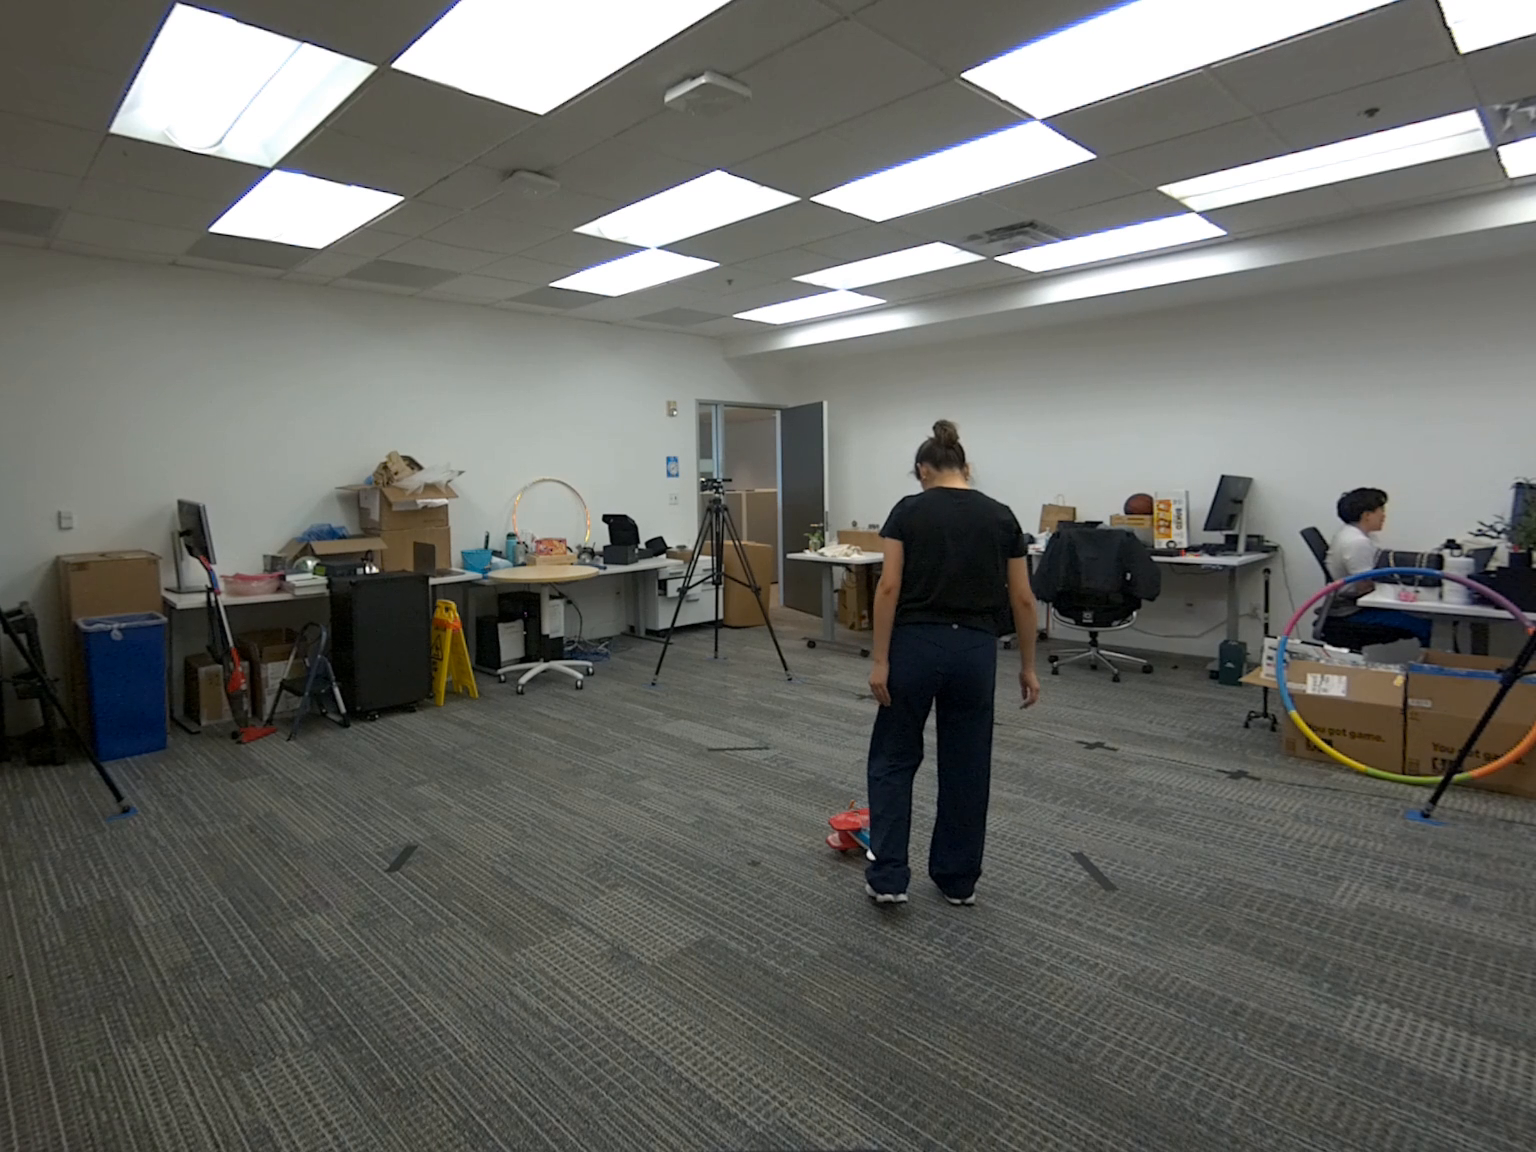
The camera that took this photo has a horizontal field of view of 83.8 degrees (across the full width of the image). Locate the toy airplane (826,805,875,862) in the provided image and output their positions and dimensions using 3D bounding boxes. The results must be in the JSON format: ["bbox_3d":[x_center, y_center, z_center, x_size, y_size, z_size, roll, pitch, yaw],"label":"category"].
[{"bbox_3d":[0.369,0.961,3.163,0.267,0.156,0.245,3,6,37],"label":"toy airplane"}]
